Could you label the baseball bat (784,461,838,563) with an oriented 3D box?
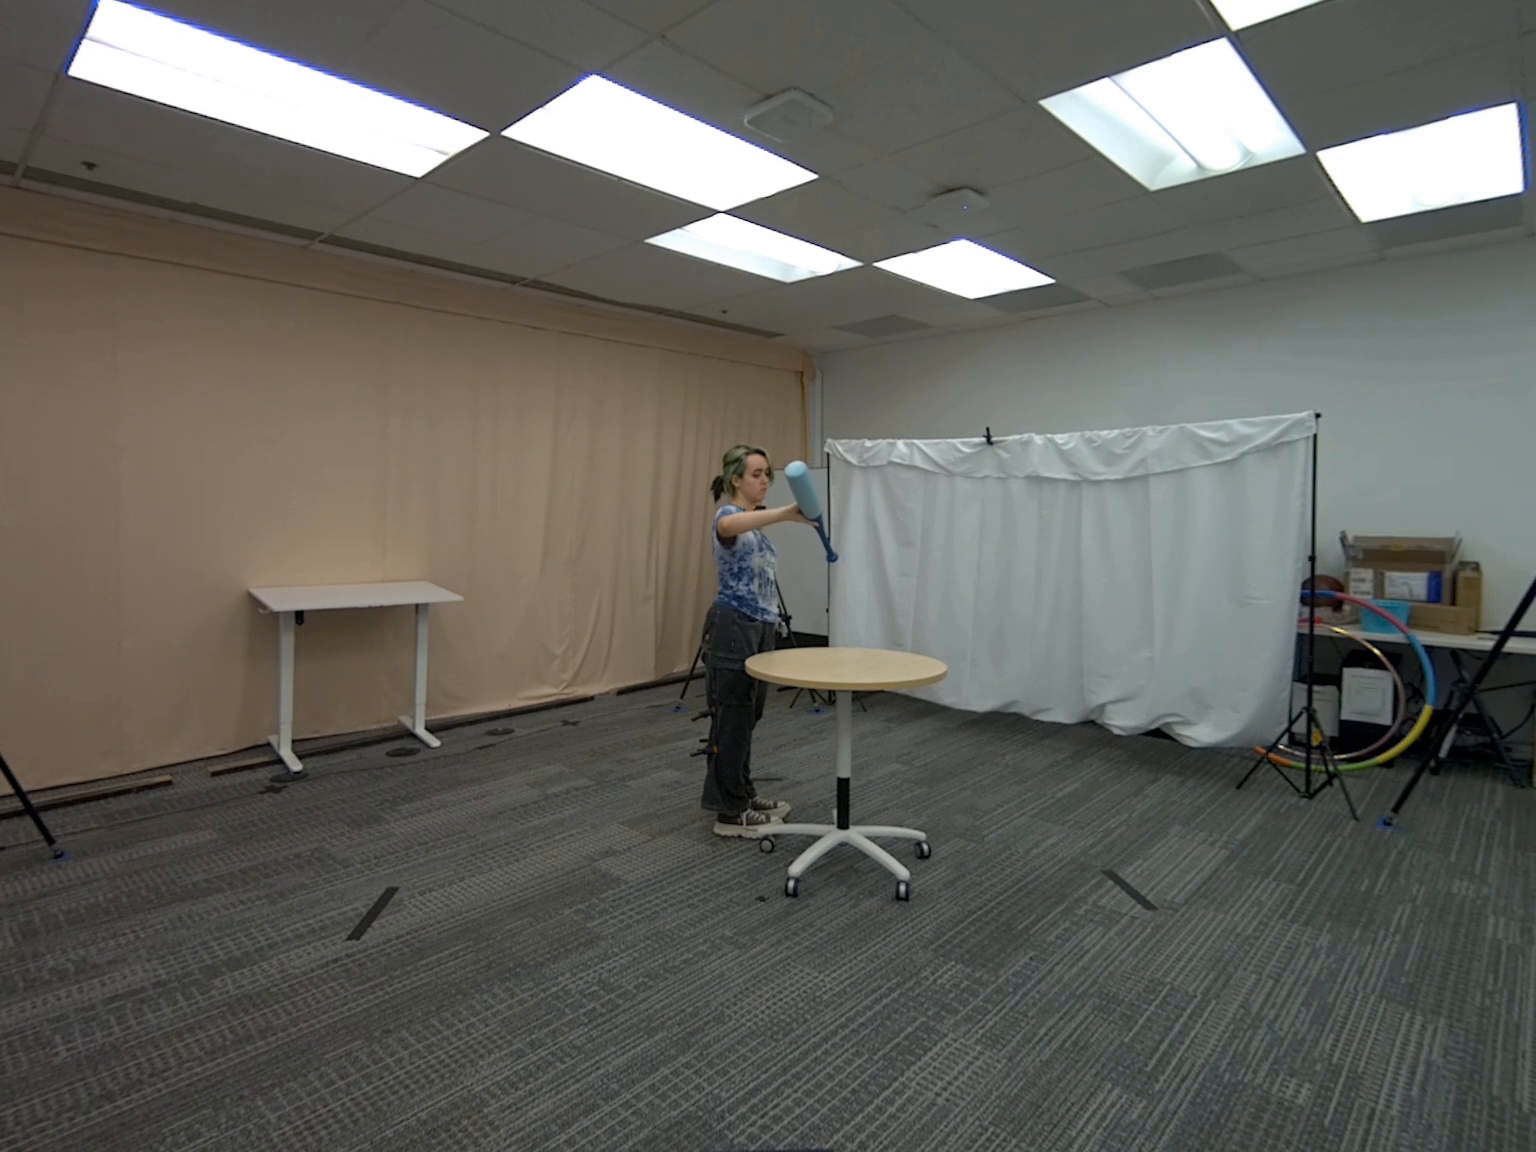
[{"bbox_3d":[0.176,-0.224,3.249,0.091,0.089,0.526,2,-39,24],"label":"baseball bat"}]
